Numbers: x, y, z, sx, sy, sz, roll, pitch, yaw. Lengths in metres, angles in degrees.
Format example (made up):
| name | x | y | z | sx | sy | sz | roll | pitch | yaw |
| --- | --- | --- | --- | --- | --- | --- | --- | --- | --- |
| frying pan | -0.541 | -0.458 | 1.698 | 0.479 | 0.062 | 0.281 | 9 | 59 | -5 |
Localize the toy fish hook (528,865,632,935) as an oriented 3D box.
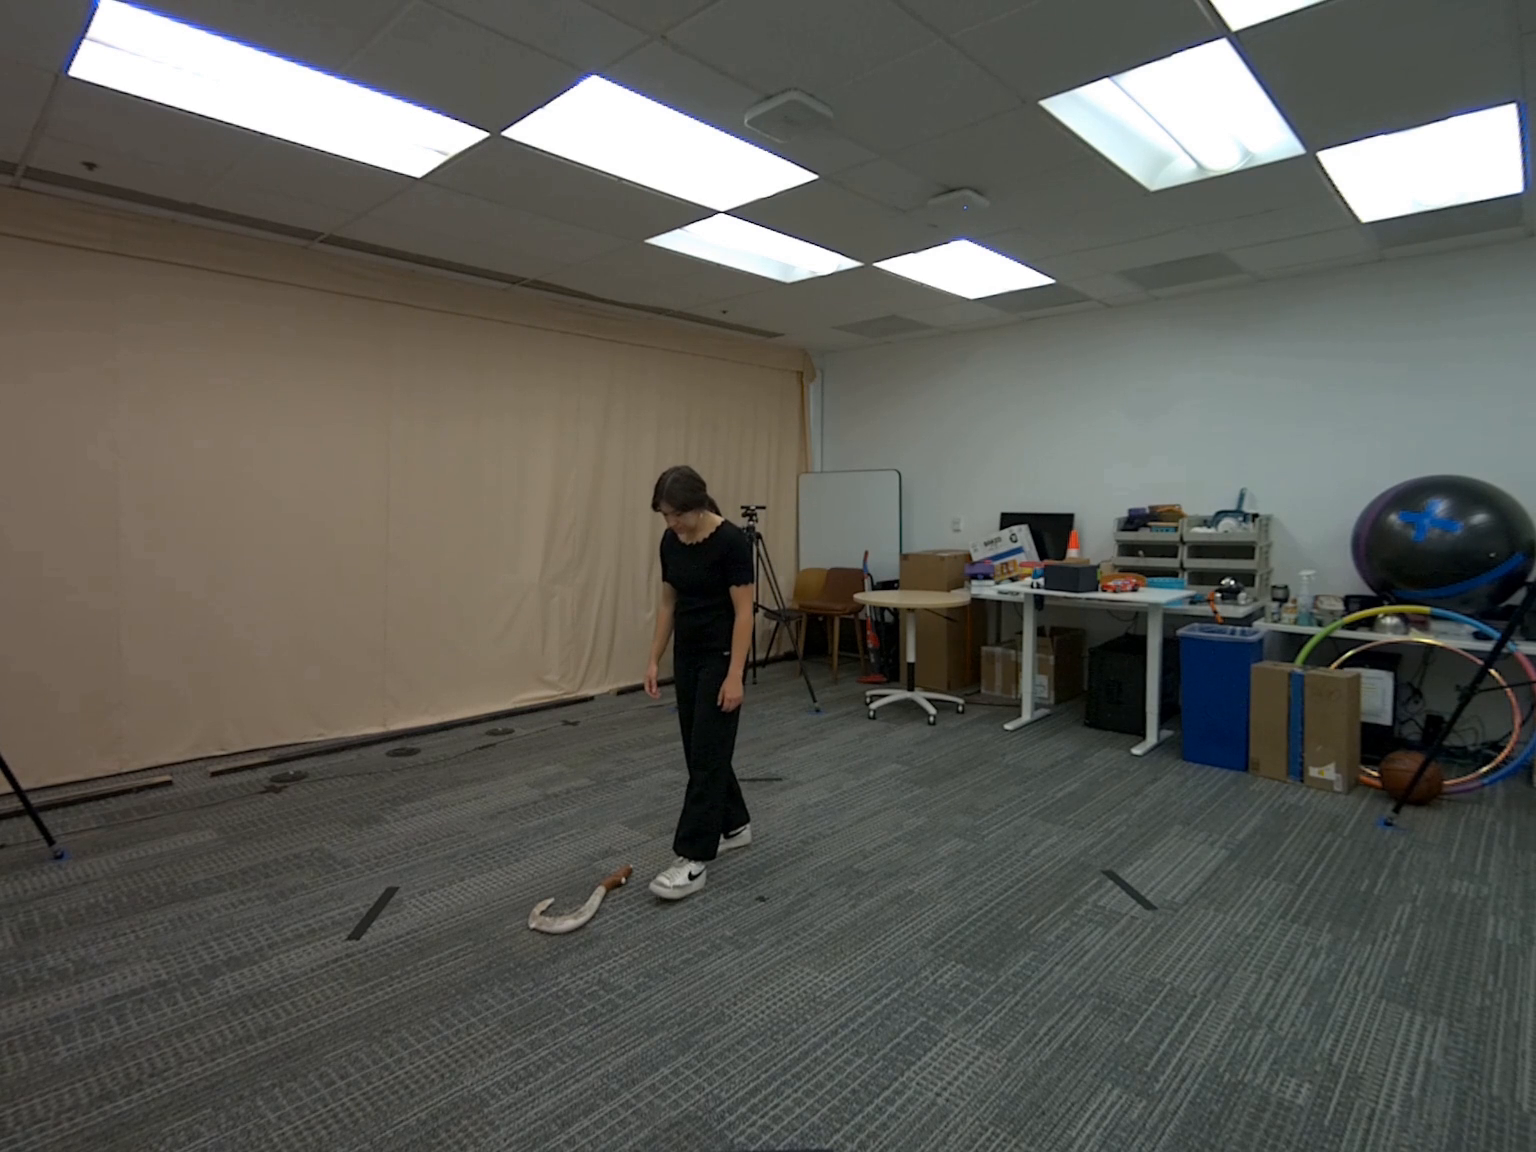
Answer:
| name | x | y | z | sx | sy | sz | roll | pitch | yaw |
| --- | --- | --- | --- | --- | --- | --- | --- | --- | --- |
| toy fish hook | -0.651 | 1.124 | 2.976 | 0.230 | 0.048 | 0.496 | 2 | 5 | 21 |
